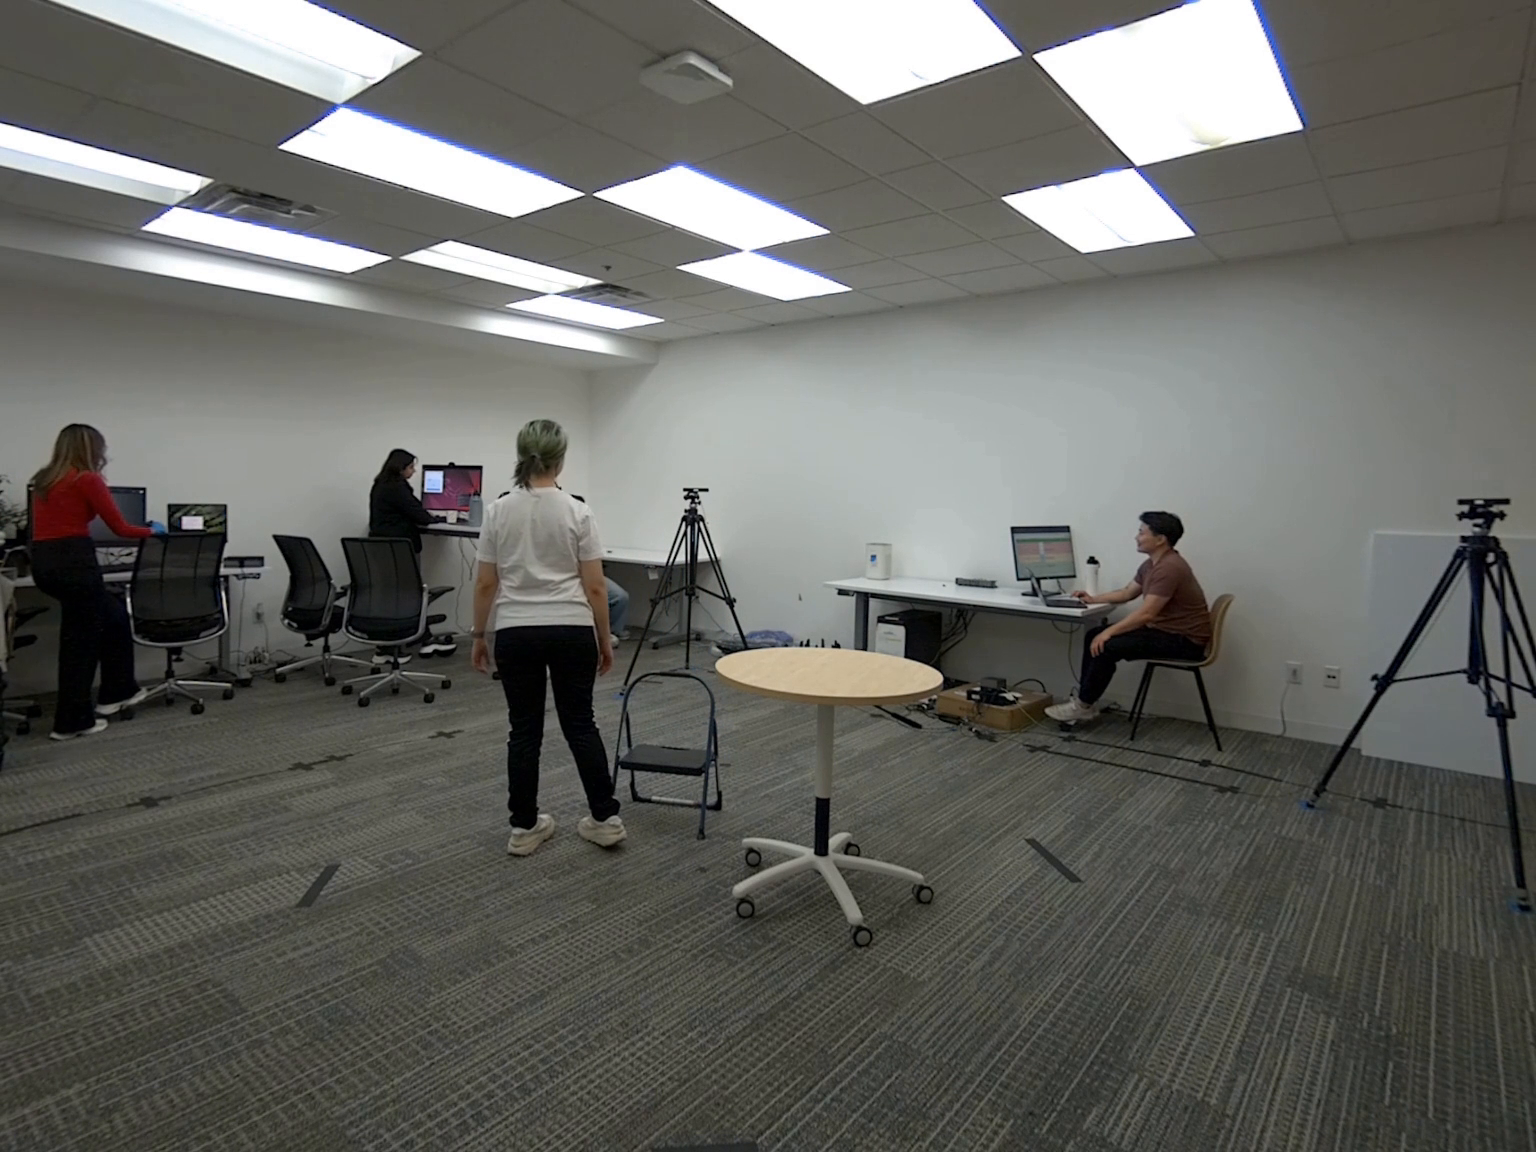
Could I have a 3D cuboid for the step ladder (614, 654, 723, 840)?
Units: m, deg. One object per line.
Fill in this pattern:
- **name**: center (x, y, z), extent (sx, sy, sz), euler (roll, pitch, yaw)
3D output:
- **step ladder**: center (-0.434, 0.718, 3.575), extent (0.437, 0.604, 0.345), euler (2, 4, 13)
